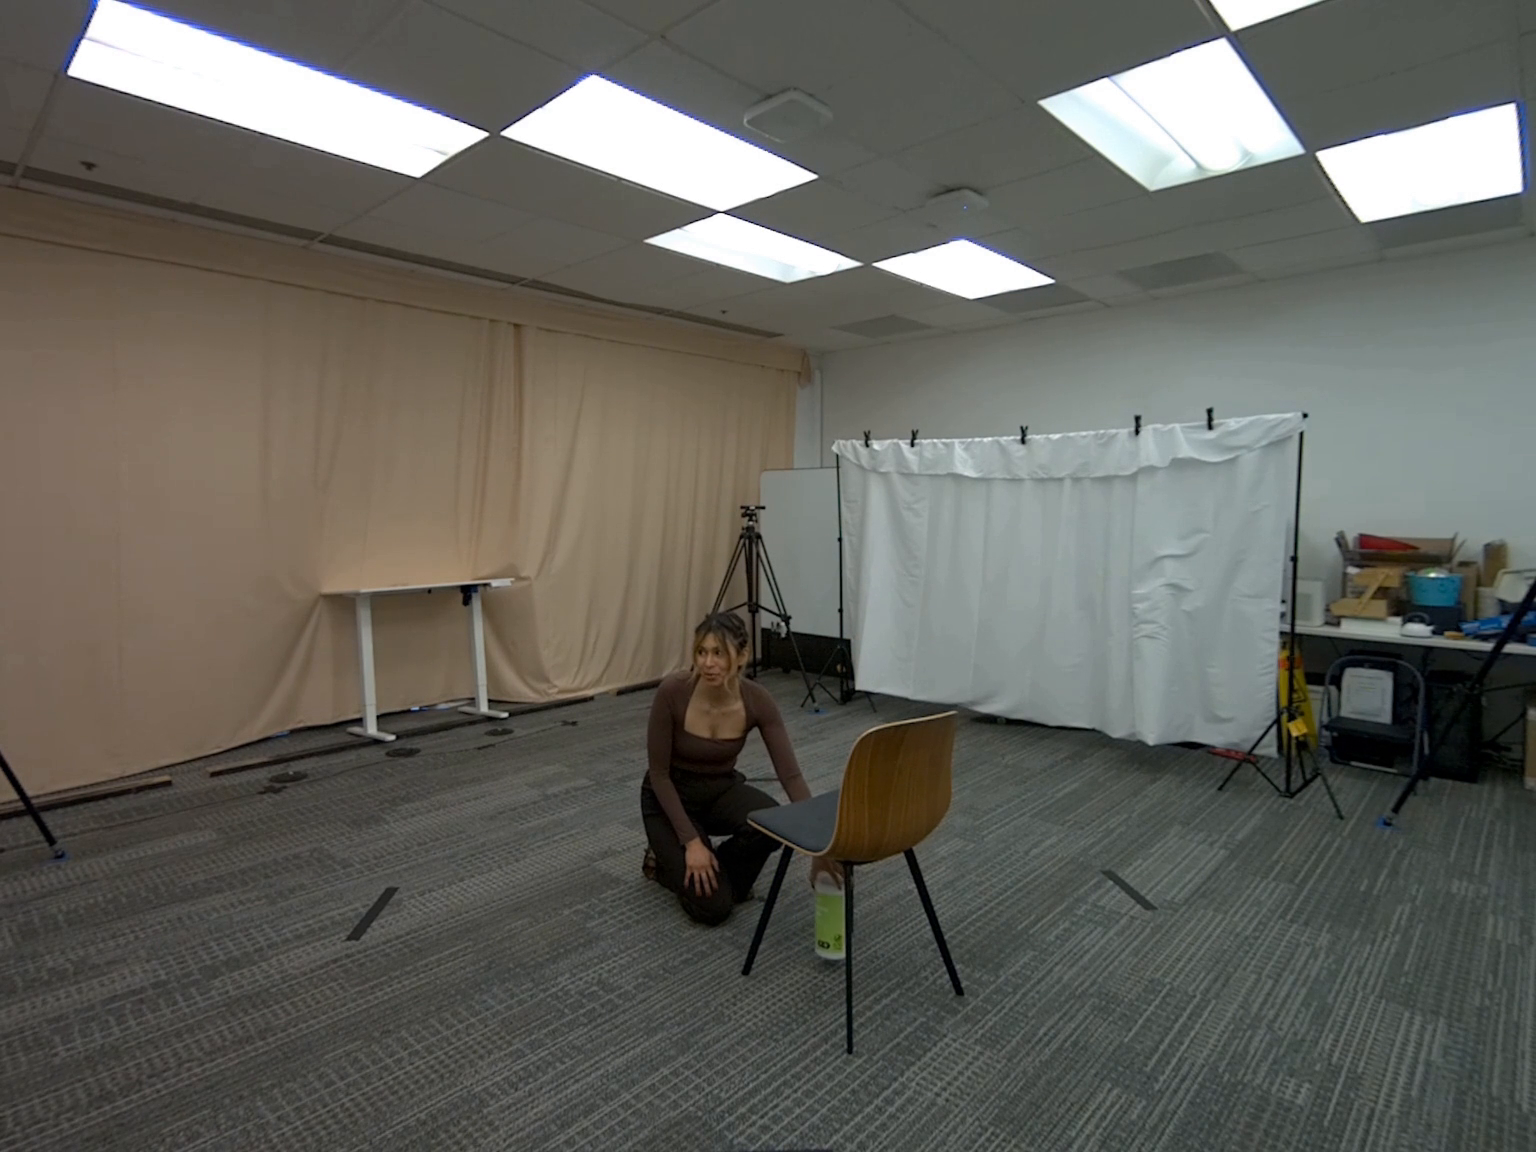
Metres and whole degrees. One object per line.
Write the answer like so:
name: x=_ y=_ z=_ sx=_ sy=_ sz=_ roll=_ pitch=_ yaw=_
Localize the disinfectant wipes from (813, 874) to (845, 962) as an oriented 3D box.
disinfectant wipes: x=0.199 y=1.039 z=2.551 sx=0.118 sy=0.218 sz=0.117 roll=1 pitch=-4 yaw=-2
